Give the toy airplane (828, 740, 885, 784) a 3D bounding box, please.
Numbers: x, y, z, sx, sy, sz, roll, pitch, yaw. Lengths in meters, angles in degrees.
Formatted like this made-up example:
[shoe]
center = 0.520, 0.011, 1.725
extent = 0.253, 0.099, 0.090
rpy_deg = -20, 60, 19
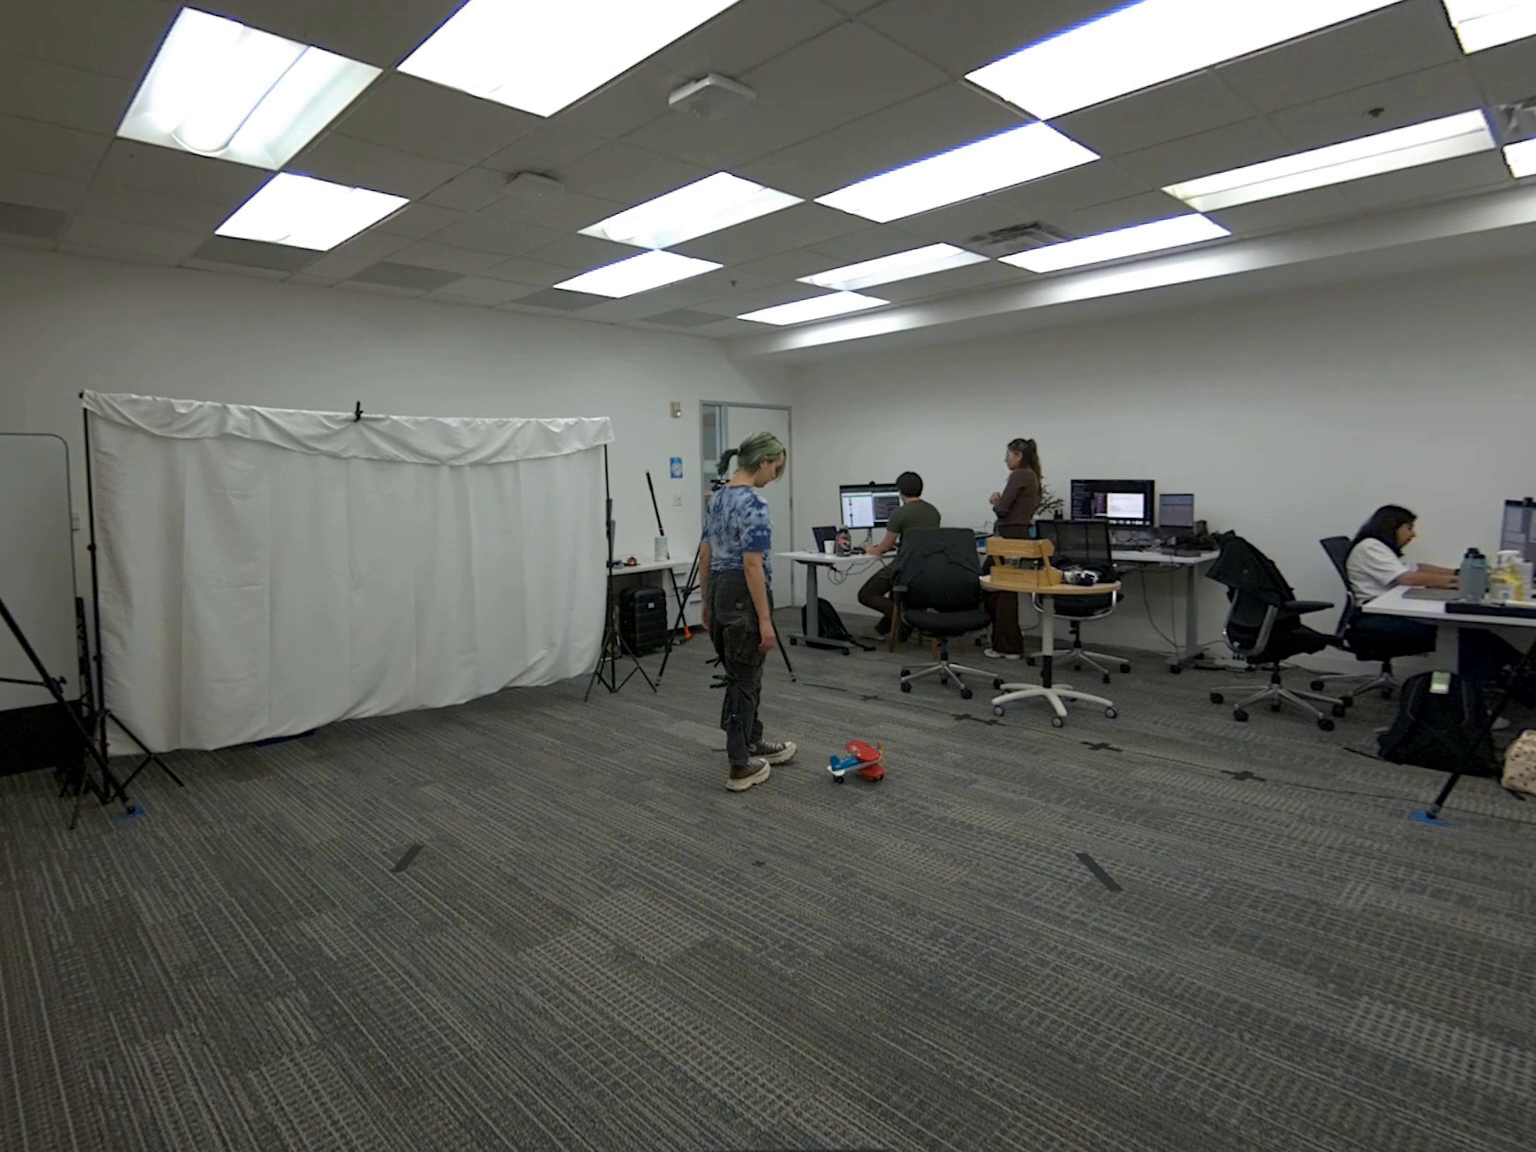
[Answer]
[toy airplane]
center = 0.412, 0.869, 3.936
extent = 0.259, 0.156, 0.252
rpy_deg = 5, 7, 43
